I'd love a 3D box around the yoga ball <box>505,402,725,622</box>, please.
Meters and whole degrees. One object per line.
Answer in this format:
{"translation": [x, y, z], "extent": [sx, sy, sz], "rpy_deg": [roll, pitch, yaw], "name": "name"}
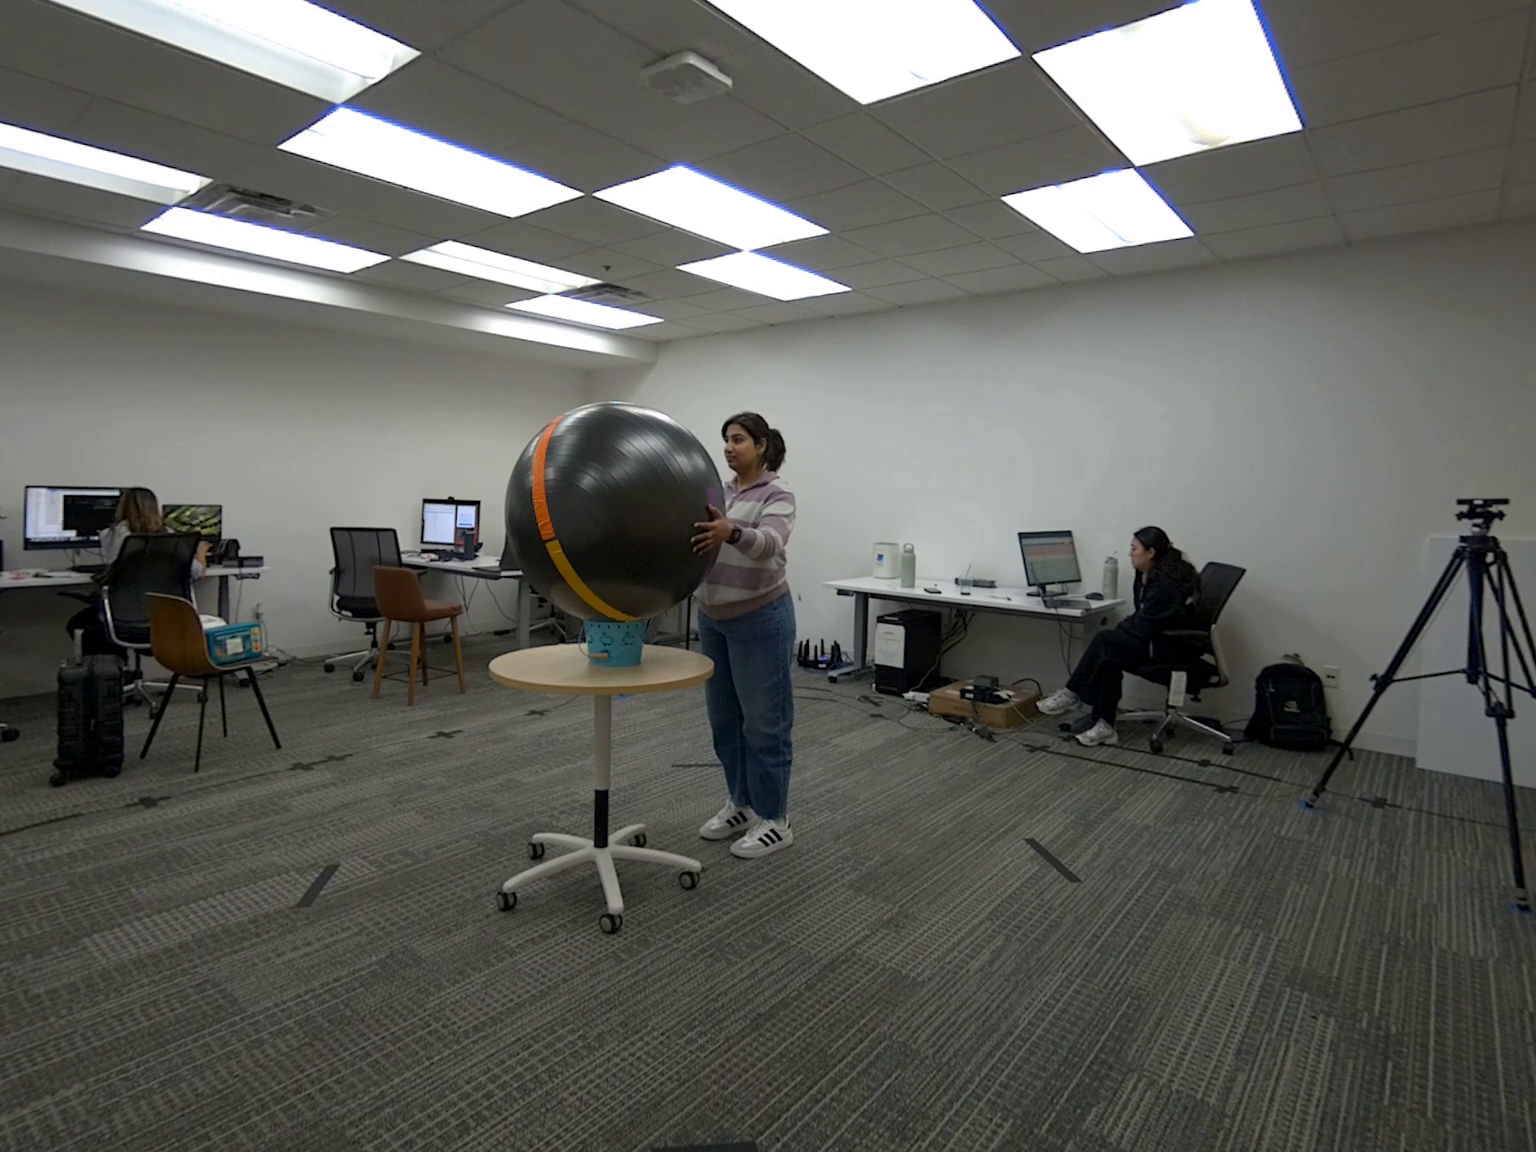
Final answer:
{"translation": [-0.535, -0.213, 2.926], "extent": [0.757, 0.755, 0.762], "rpy_deg": [1, 4, -2], "name": "yoga ball"}
